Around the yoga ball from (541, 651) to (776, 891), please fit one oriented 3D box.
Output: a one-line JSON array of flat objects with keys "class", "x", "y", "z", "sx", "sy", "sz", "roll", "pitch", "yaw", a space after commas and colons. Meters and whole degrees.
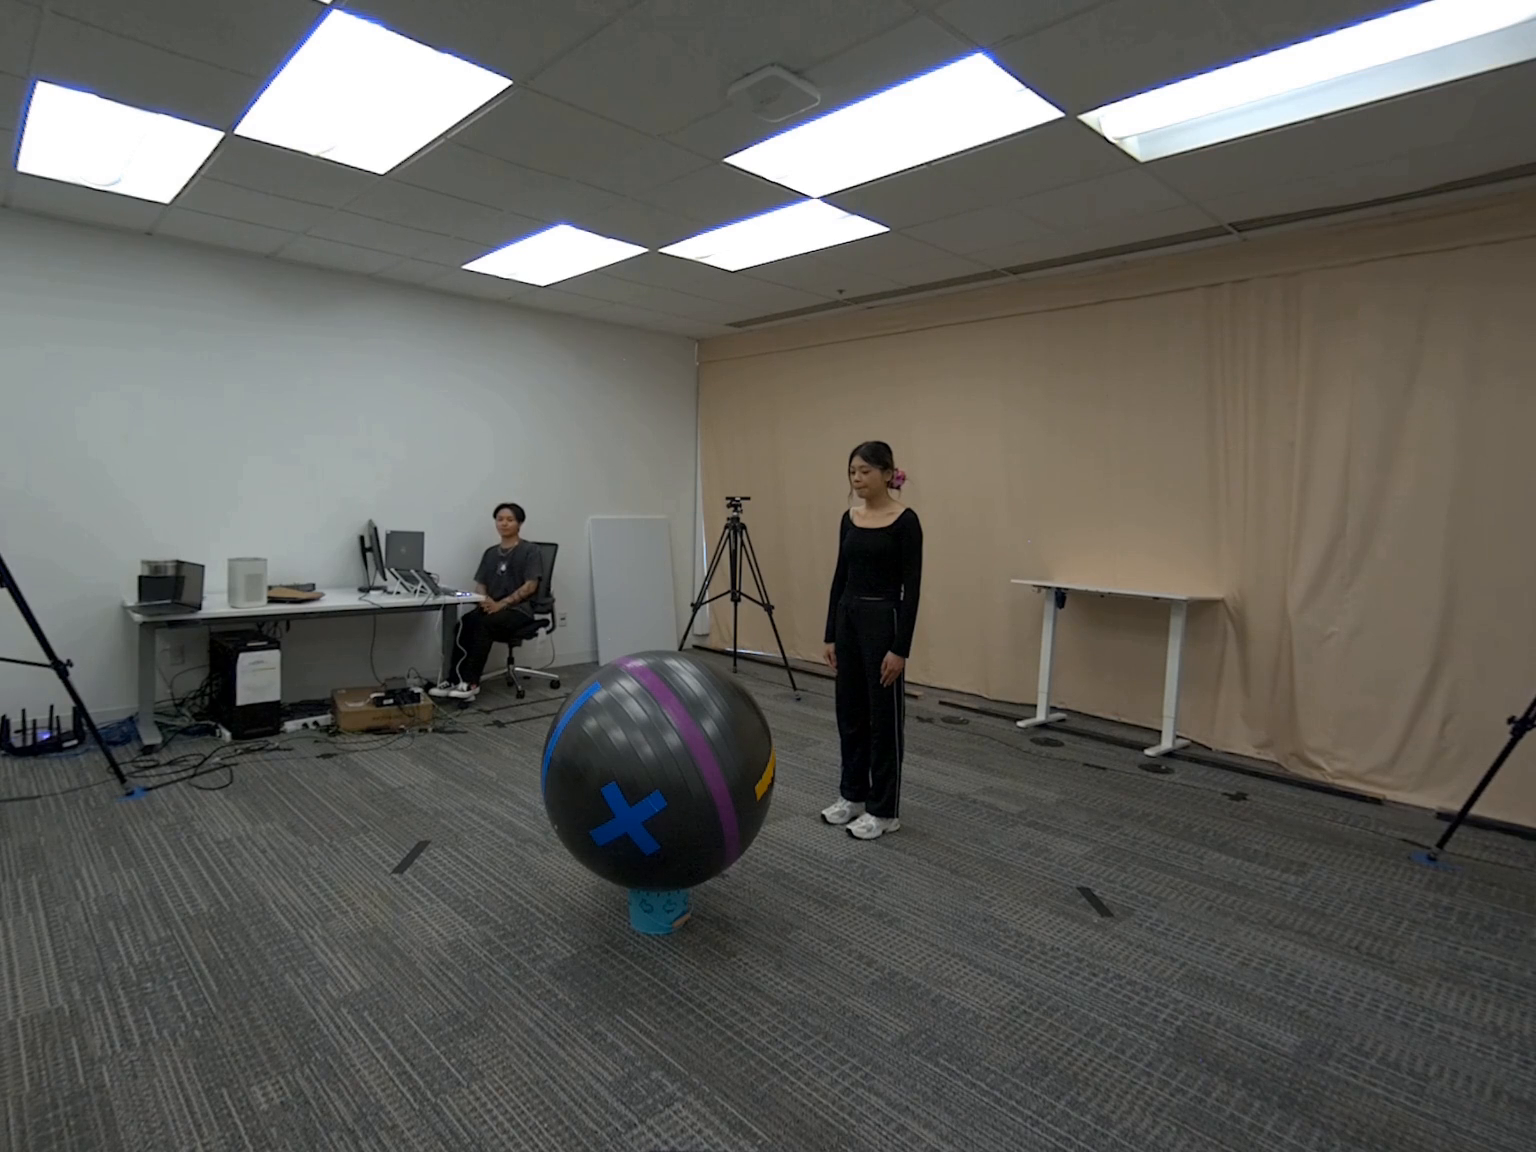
[{"class": "yoga ball", "x": -0.355, "y": 0.624, "z": 2.740, "sx": 0.757, "sy": 0.756, "sz": 0.761, "roll": 1, "pitch": 4, "yaw": -1}]
